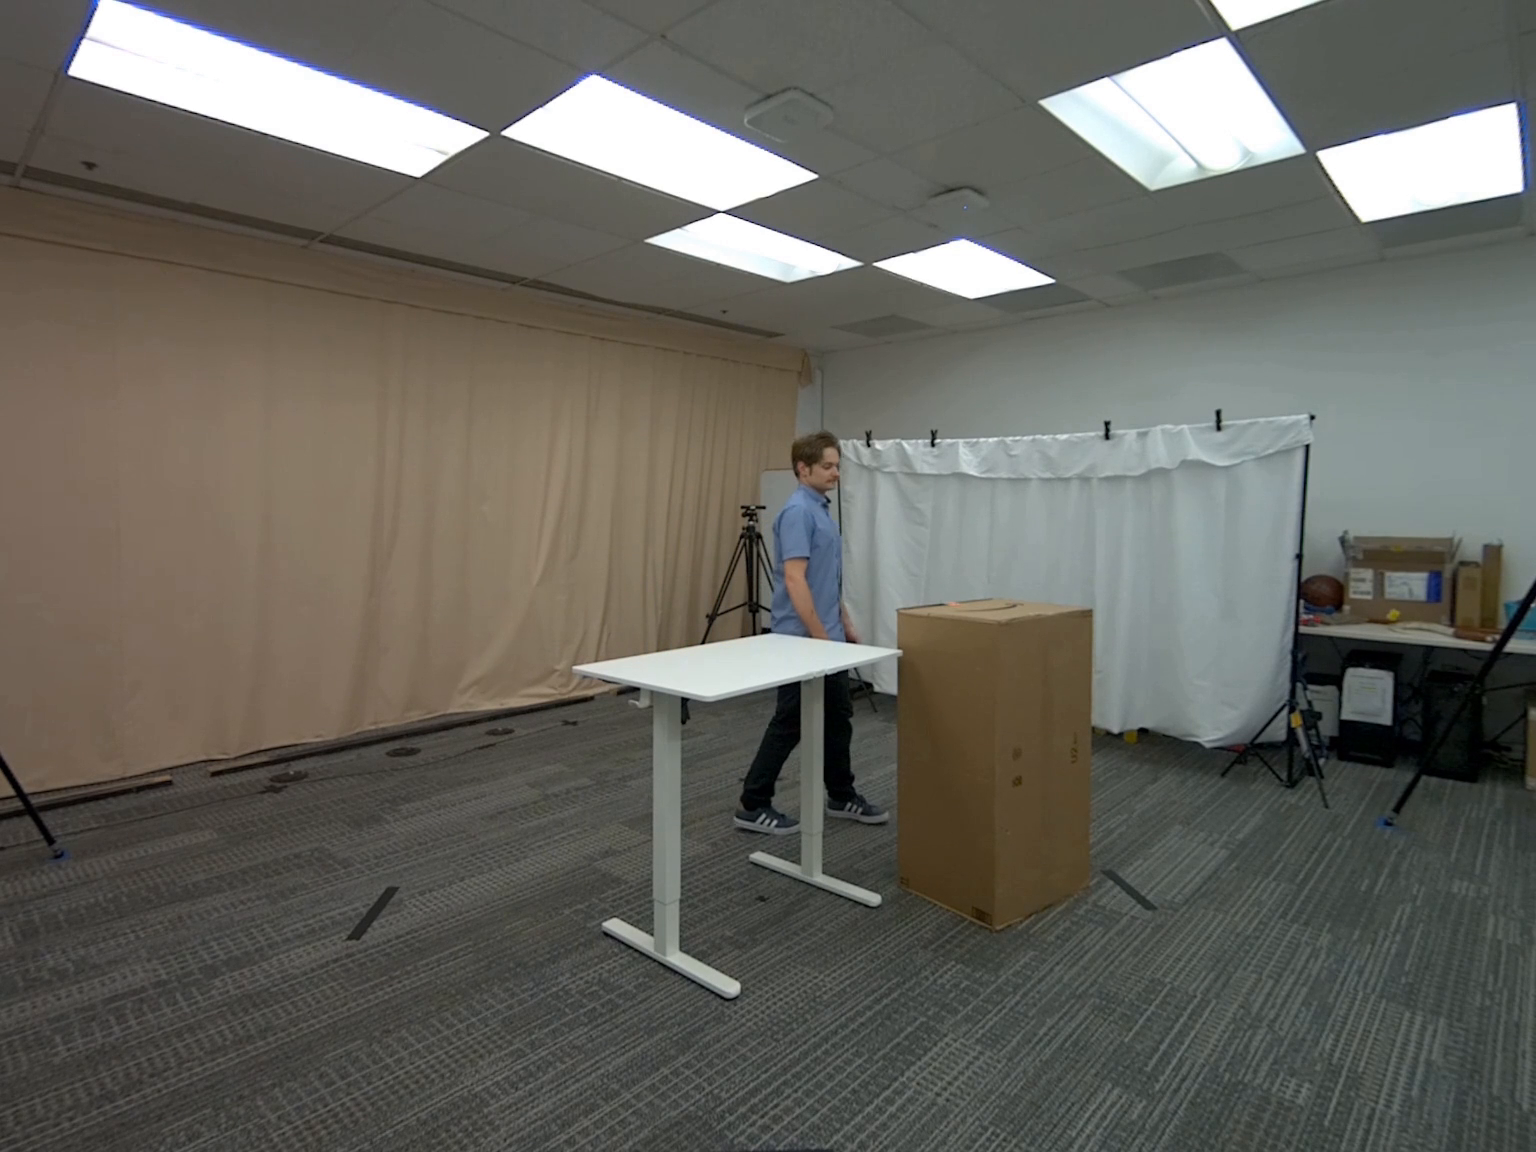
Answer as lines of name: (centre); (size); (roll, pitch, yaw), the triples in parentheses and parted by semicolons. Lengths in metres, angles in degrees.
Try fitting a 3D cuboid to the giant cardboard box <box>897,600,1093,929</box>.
giant cardboard box: (0.825, 0.626, 3.057); (0.560, 1.024, 0.440); (-2, 4, -38)
